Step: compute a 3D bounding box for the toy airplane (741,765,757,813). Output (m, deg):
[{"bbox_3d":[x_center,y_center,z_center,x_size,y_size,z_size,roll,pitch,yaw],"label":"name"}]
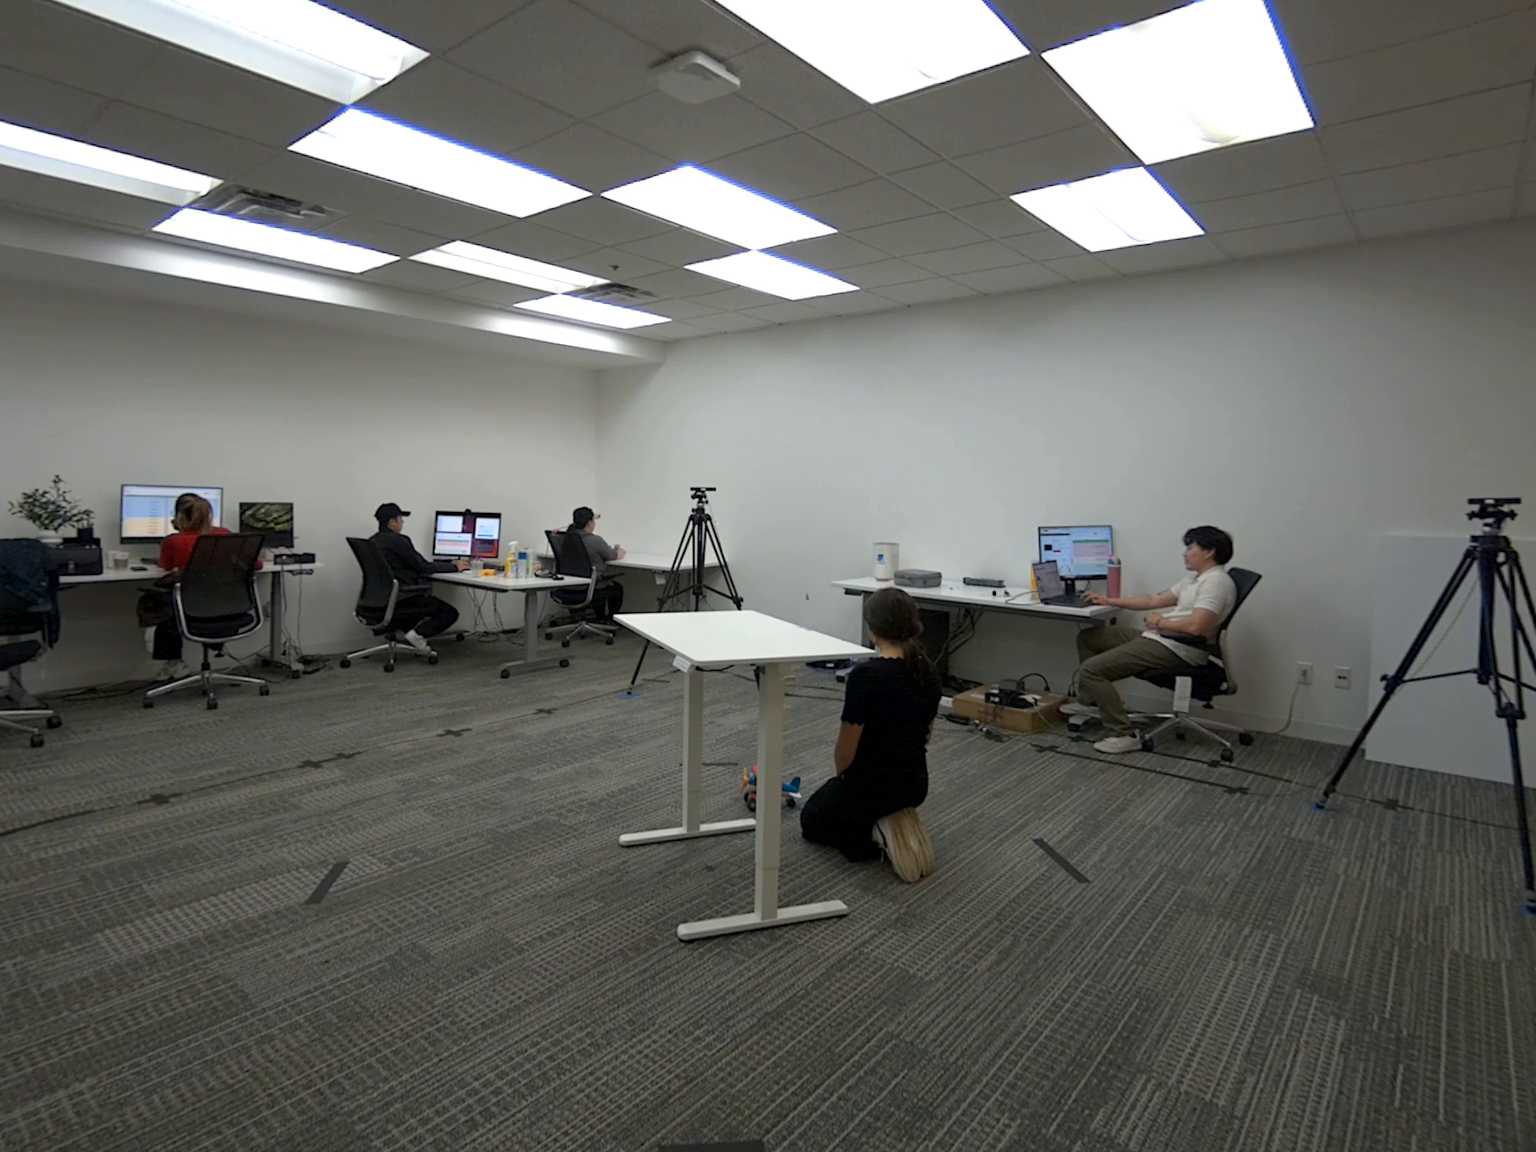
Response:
[{"bbox_3d":[-0.004,0.932,3.758,0.252,0.156,0.259,-3,6,-37],"label":"toy airplane"}]
